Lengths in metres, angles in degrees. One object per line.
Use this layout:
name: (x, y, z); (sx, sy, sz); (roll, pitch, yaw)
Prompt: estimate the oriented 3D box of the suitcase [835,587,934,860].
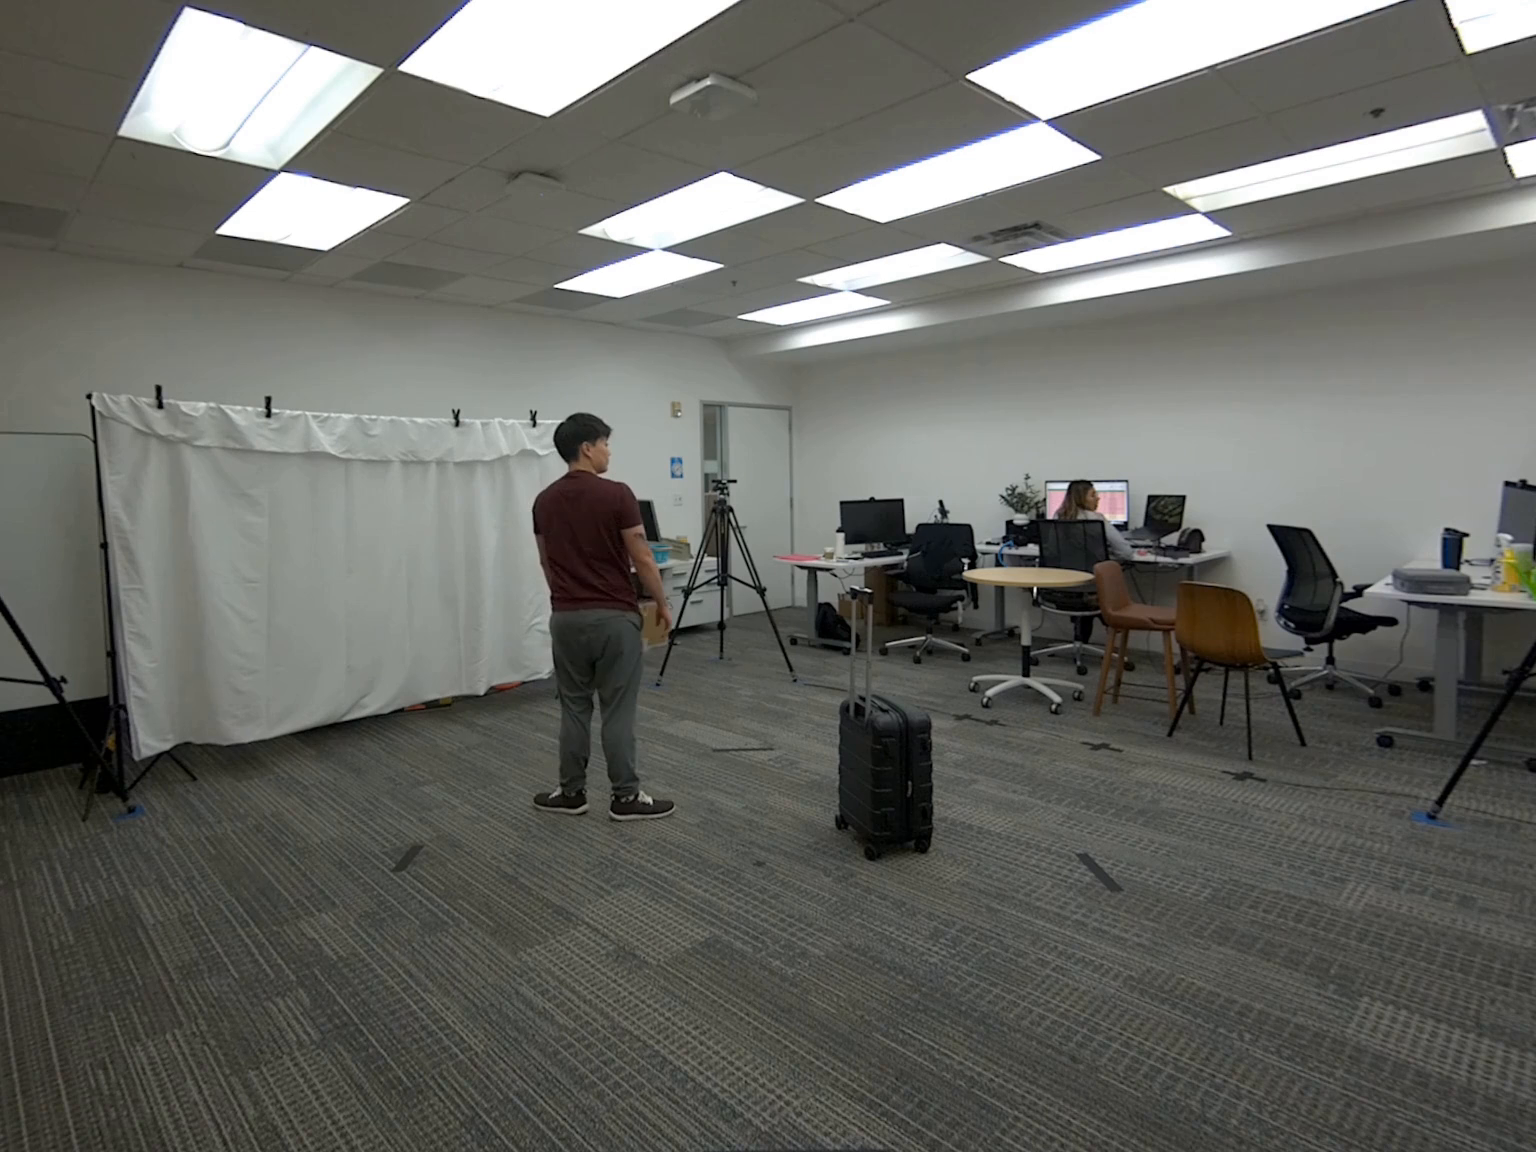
suitcase: (0.445, 0.543, 3.268); (0.253, 0.975, 0.391); (0, 4, -16)
